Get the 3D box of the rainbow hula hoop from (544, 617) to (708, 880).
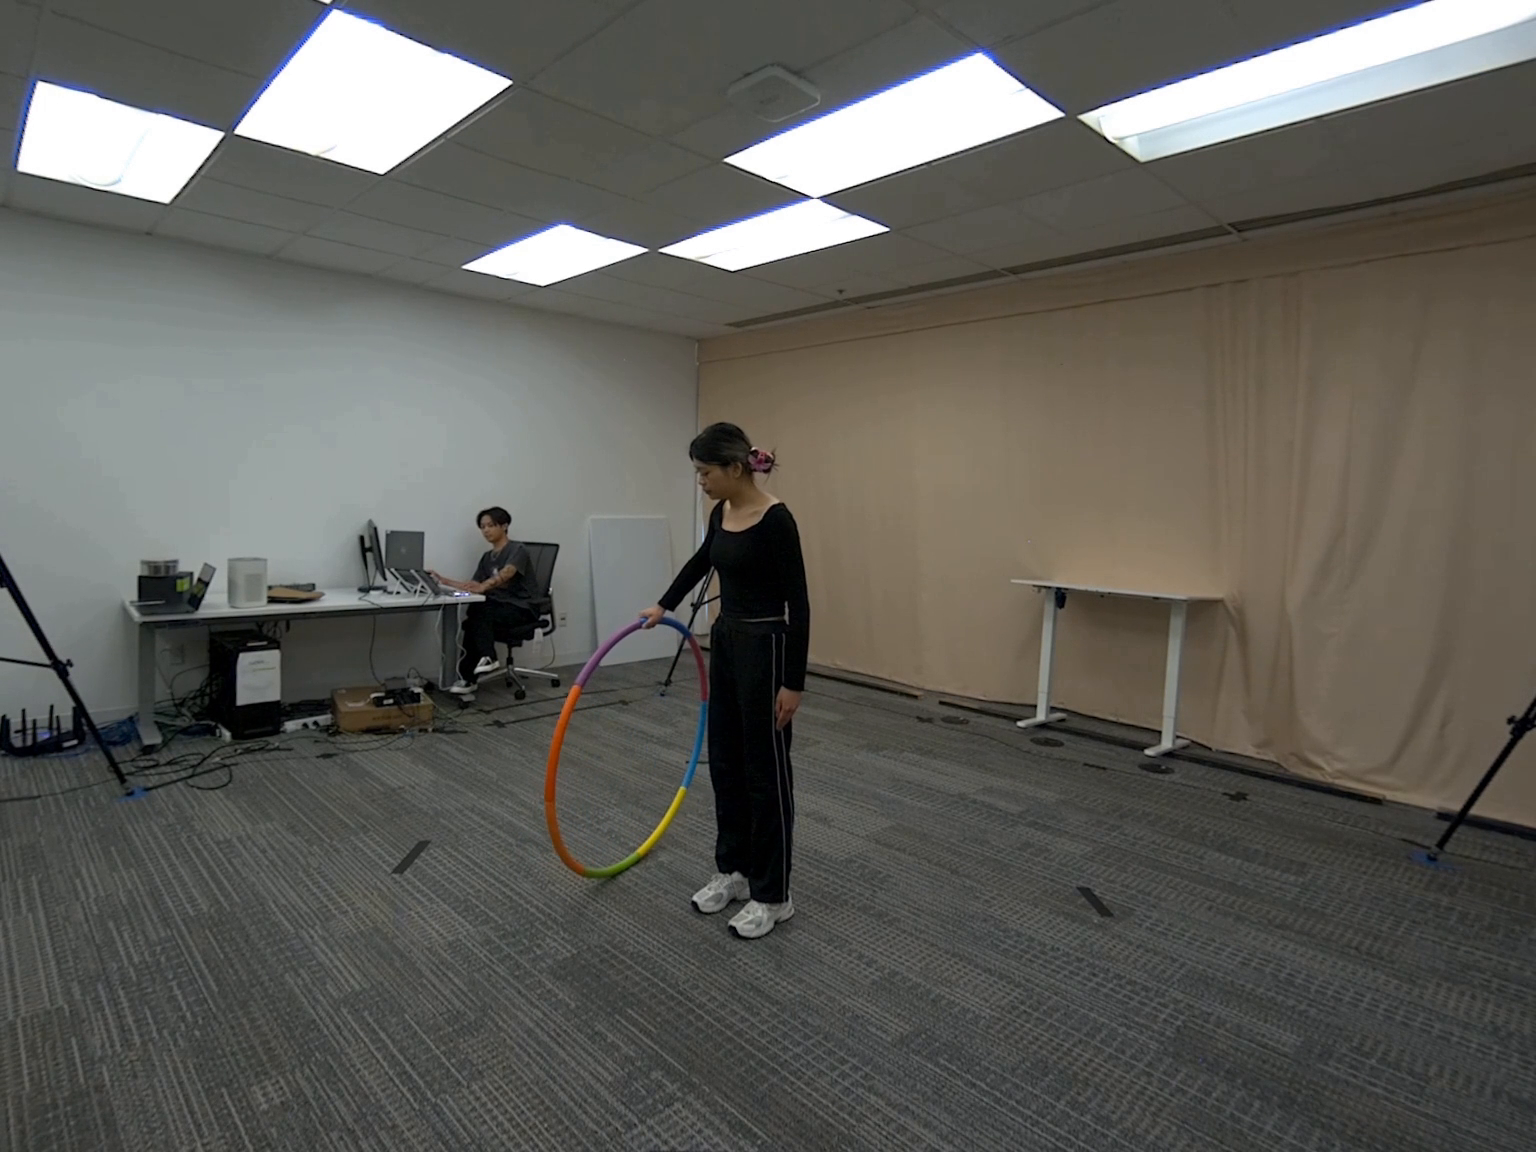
[{"bbox_3d":[-0.482,0.619,3.120,0.036,0.975,0.962,8,7,25],"label":"rainbow hula hoop"}]
